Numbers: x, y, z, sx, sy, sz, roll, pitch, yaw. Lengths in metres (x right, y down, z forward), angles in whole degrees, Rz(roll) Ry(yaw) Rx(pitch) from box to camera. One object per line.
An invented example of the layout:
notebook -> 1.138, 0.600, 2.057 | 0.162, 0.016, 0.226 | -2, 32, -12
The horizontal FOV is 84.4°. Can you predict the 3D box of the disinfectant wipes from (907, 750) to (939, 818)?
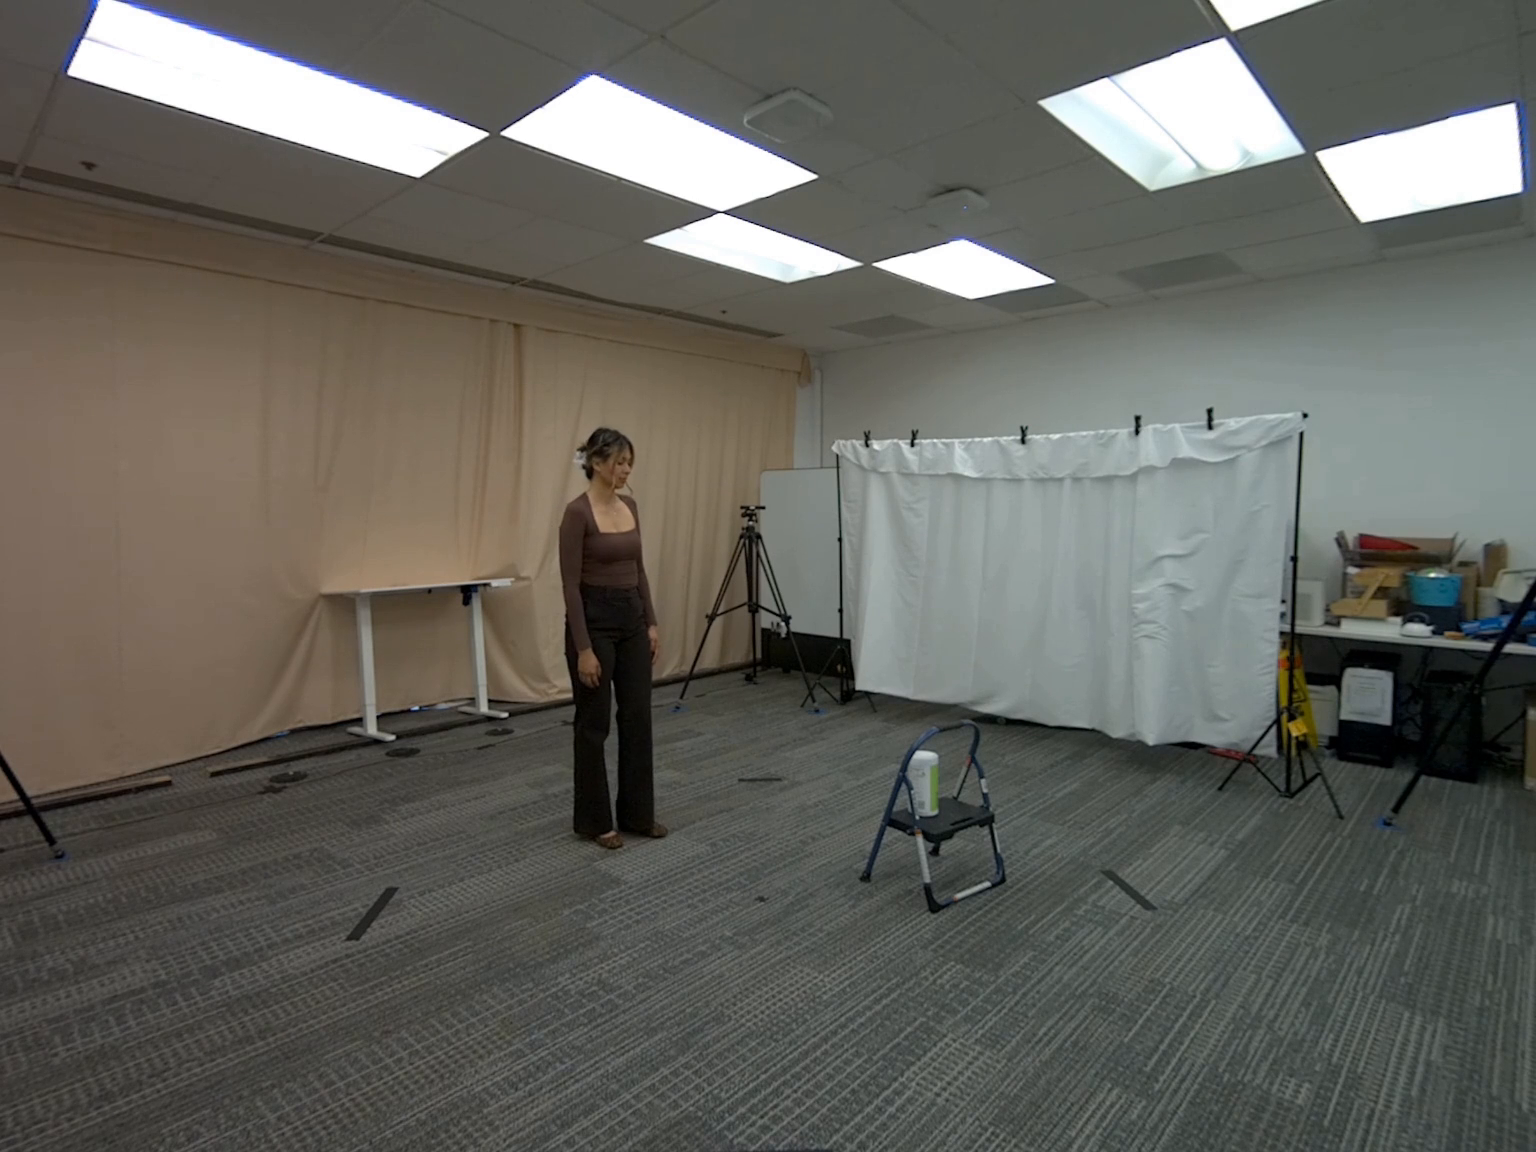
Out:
disinfectant wipes -> 0.584, 0.767, 3.096 | 0.118, 0.217, 0.118 | 1, 0, -2
